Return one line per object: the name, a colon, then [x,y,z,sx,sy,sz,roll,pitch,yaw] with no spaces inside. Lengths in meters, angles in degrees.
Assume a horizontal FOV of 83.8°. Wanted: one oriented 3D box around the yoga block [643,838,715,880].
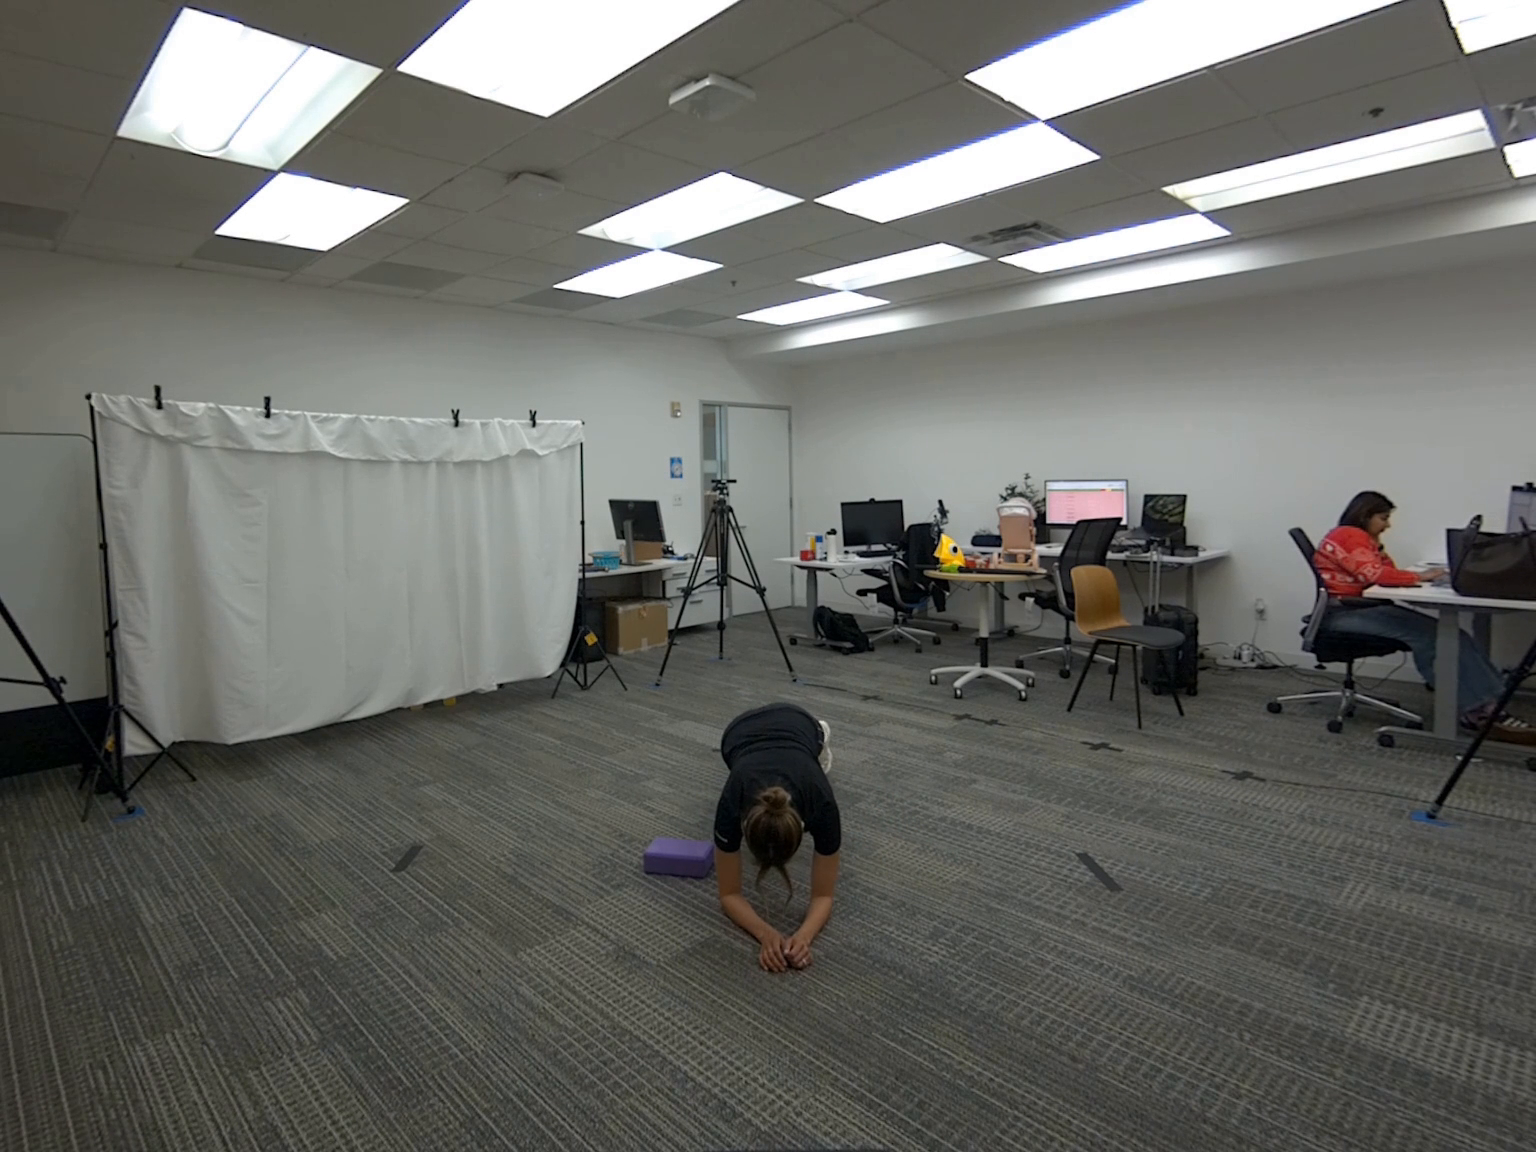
yoga block: [-0.317,1.008,3.083,0.232,0.076,0.147,2,5,13]
